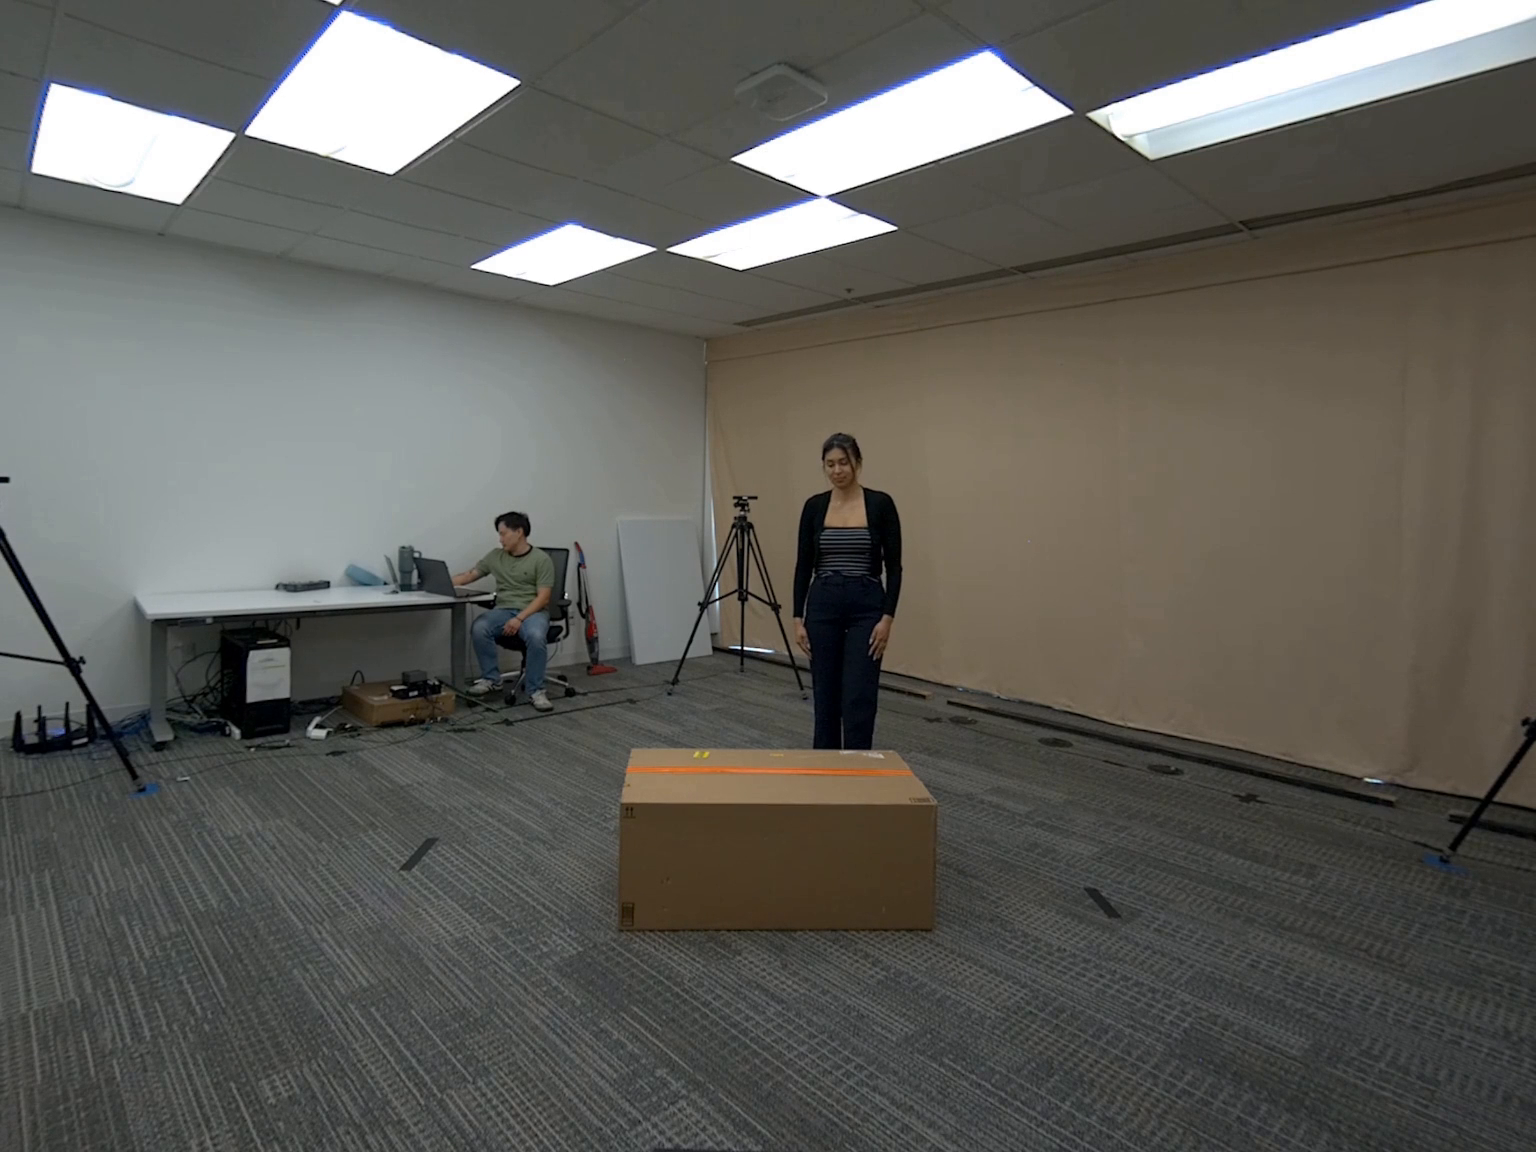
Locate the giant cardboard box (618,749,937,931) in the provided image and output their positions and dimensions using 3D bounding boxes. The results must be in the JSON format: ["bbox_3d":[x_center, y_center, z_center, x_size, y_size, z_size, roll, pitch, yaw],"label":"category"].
[{"bbox_3d":[0.000,0.900,2.973,1.023,0.425,0.580,1,4,-4],"label":"giant cardboard box"}]
